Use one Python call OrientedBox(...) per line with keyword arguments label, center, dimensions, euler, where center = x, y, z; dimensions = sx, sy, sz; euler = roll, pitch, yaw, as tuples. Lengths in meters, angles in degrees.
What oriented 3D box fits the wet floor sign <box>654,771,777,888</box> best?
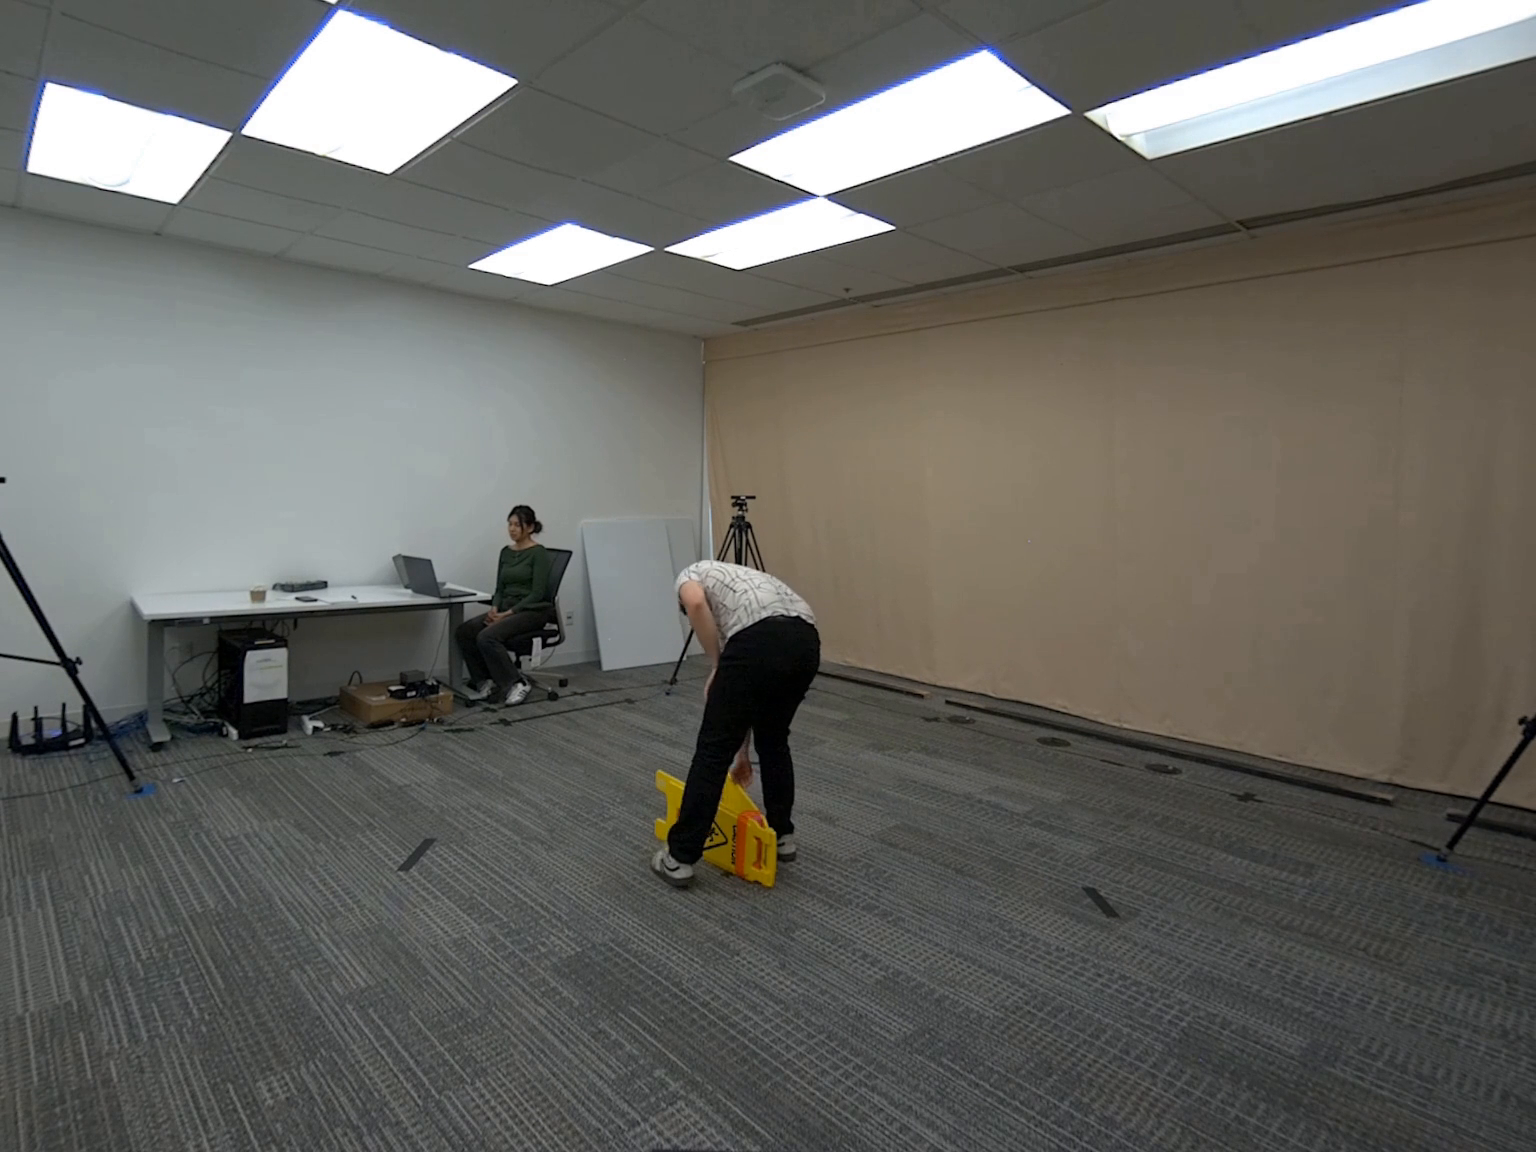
OrientedBox(label="wet floor sign", center=(-0.165, 0.962, 3.229), dimensions=(0.284, 0.281, 0.662), euler=(-3, 8, -32))
